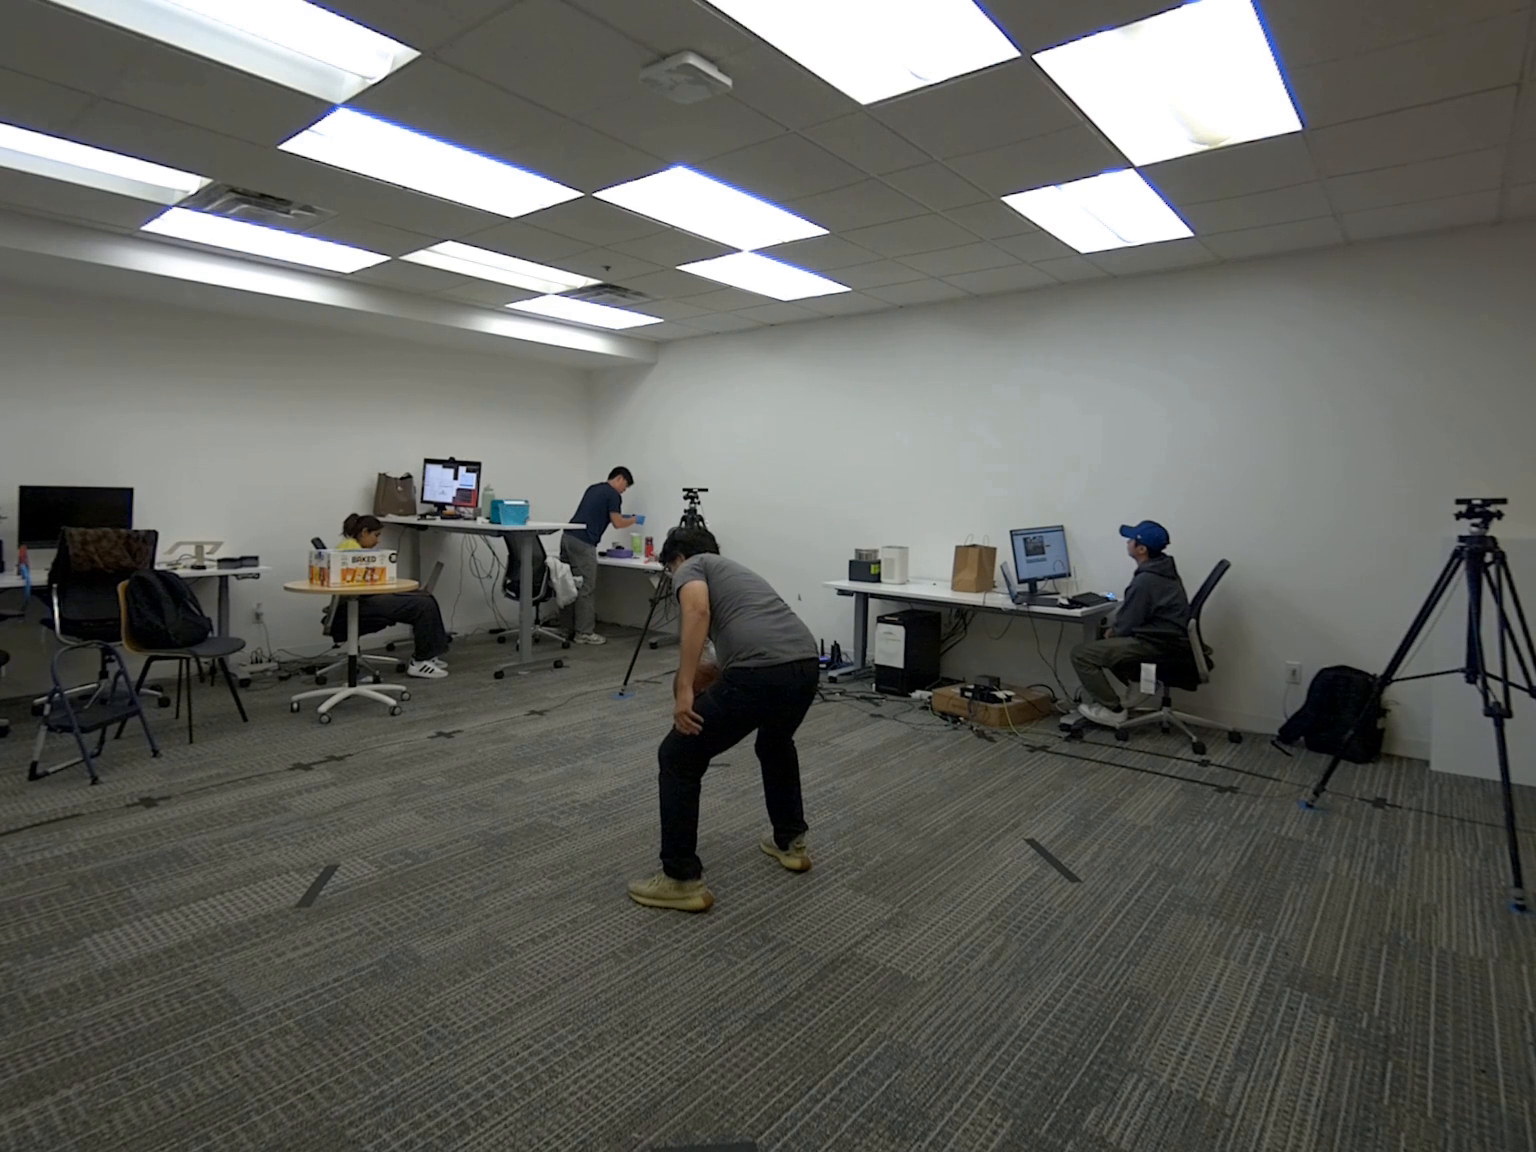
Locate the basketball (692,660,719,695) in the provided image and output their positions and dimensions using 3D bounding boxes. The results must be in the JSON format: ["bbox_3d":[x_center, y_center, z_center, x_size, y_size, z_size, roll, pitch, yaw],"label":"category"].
[{"bbox_3d":[-0.264,0.435,3.383,0.235,0.235,0.237,1,4,-2],"label":"basketball"}]
